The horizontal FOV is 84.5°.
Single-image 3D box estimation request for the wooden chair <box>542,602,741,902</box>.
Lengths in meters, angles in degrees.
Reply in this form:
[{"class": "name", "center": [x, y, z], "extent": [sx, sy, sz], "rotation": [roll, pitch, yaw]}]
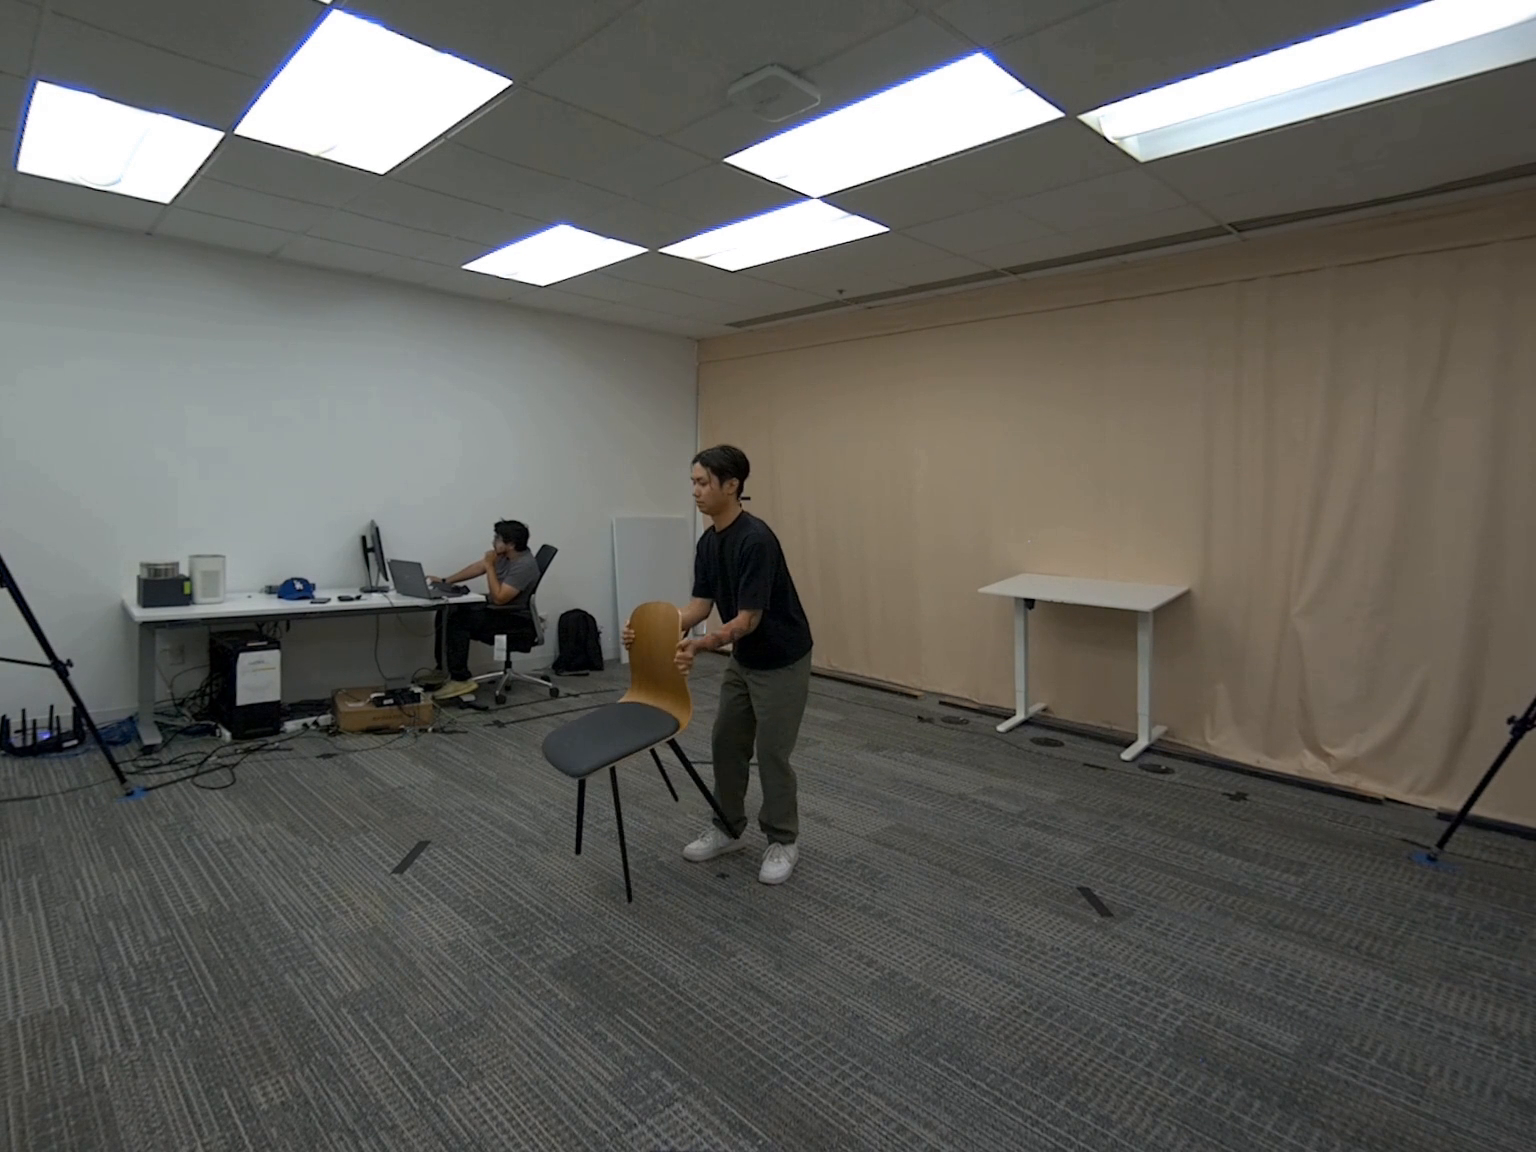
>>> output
[{"class": "wooden chair", "center": [-0.504, 0.588, 2.954], "extent": [0.515, 0.870, 0.489], "rotation": [-15, 12, -32]}]
